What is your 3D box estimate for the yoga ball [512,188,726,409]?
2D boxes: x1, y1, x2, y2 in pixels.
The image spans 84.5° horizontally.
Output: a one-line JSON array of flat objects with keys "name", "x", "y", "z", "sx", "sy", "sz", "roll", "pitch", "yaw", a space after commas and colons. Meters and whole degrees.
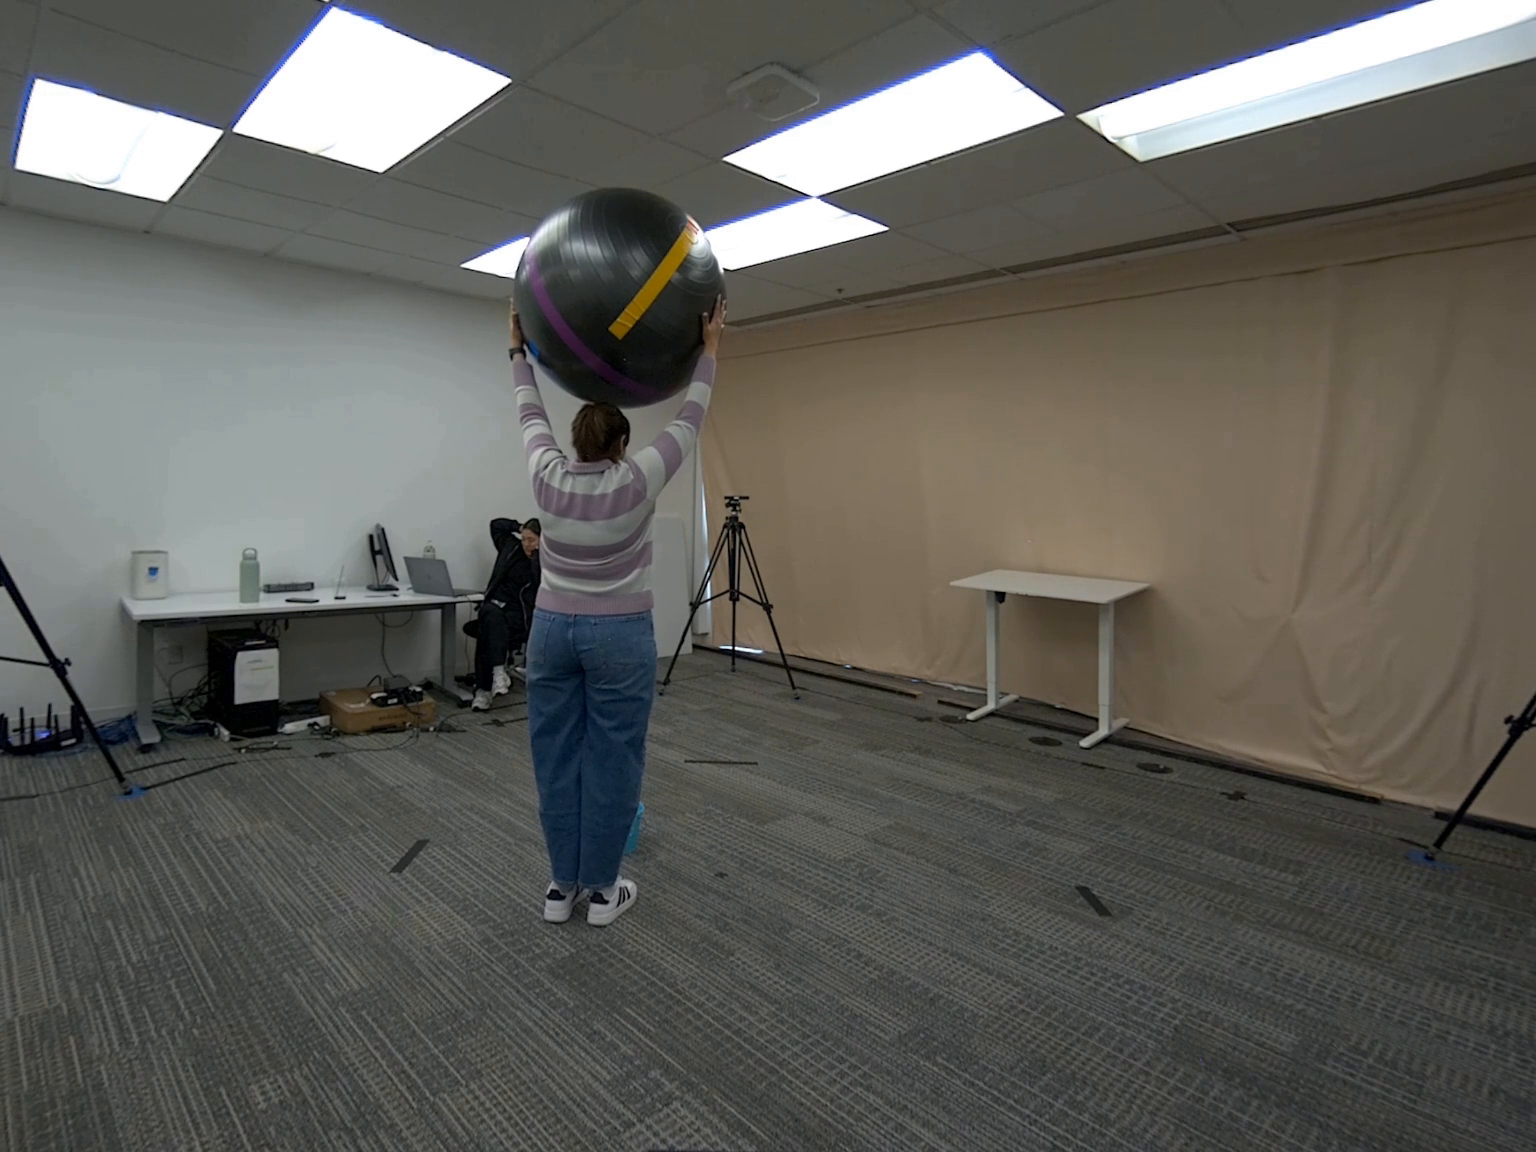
[{"name": "yoga ball", "x": -0.529, "y": -0.974, "z": 3.015, "sx": 0.757, "sy": 0.756, "sz": 0.761, "roll": 1, "pitch": 4, "yaw": -1}]
